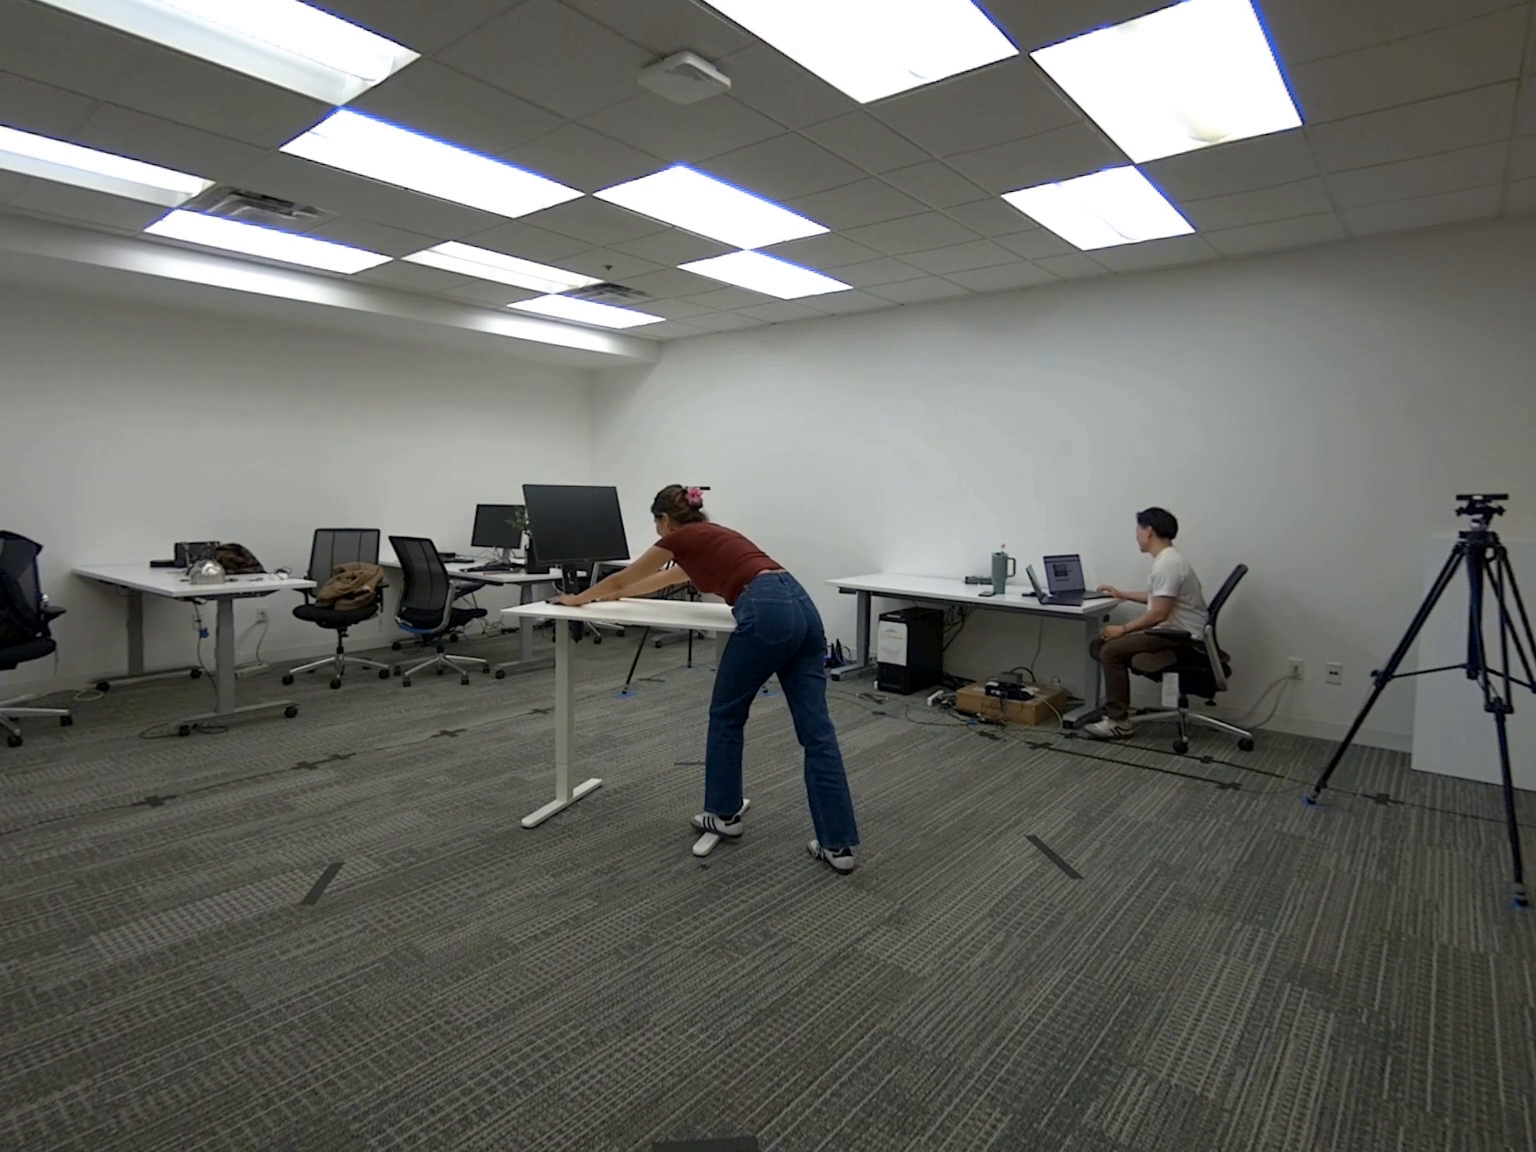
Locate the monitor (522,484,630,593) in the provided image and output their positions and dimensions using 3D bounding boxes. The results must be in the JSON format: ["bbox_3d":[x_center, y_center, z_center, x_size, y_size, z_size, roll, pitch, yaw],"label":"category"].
[{"bbox_3d":[-0.868,-0.147,3.769,0.192,0.522,0.524,0,2,31],"label":"monitor"}]
